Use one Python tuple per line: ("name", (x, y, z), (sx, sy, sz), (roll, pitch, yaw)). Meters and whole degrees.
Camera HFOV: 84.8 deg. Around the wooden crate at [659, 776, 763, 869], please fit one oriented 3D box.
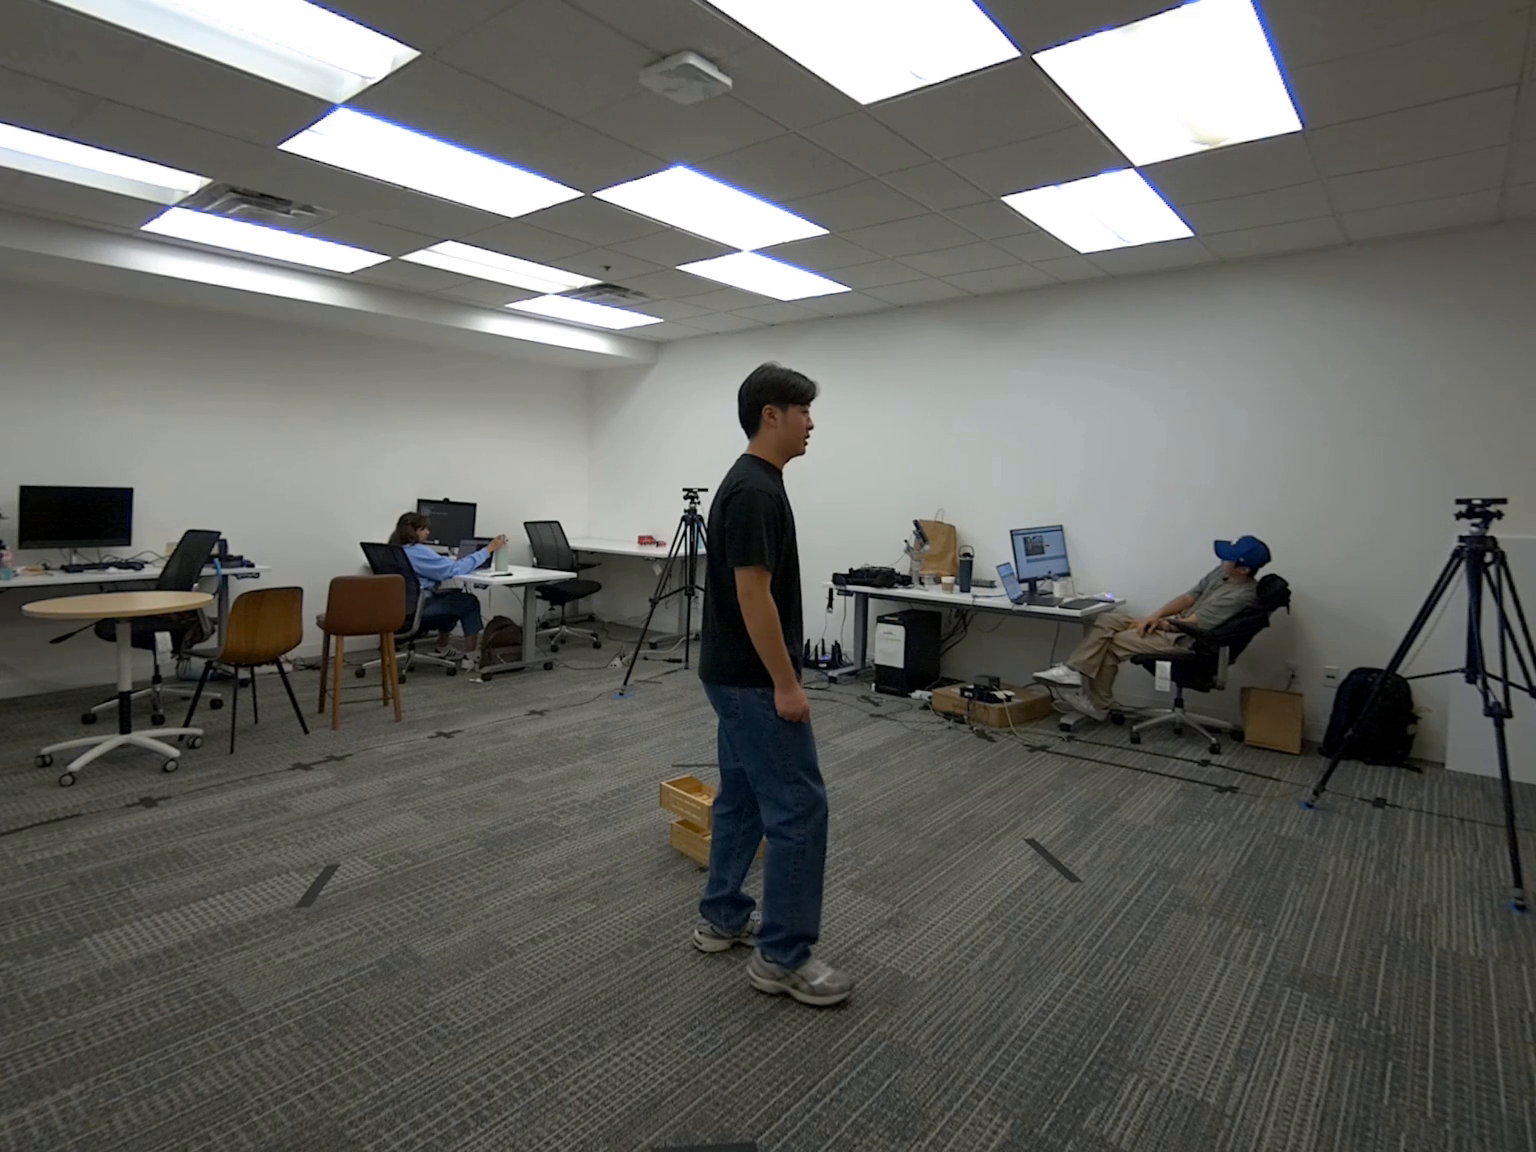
("wooden crate", (-0.215, 0.919, 3.256), (0.293, 0.272, 0.335), (-3, 6, -41))
